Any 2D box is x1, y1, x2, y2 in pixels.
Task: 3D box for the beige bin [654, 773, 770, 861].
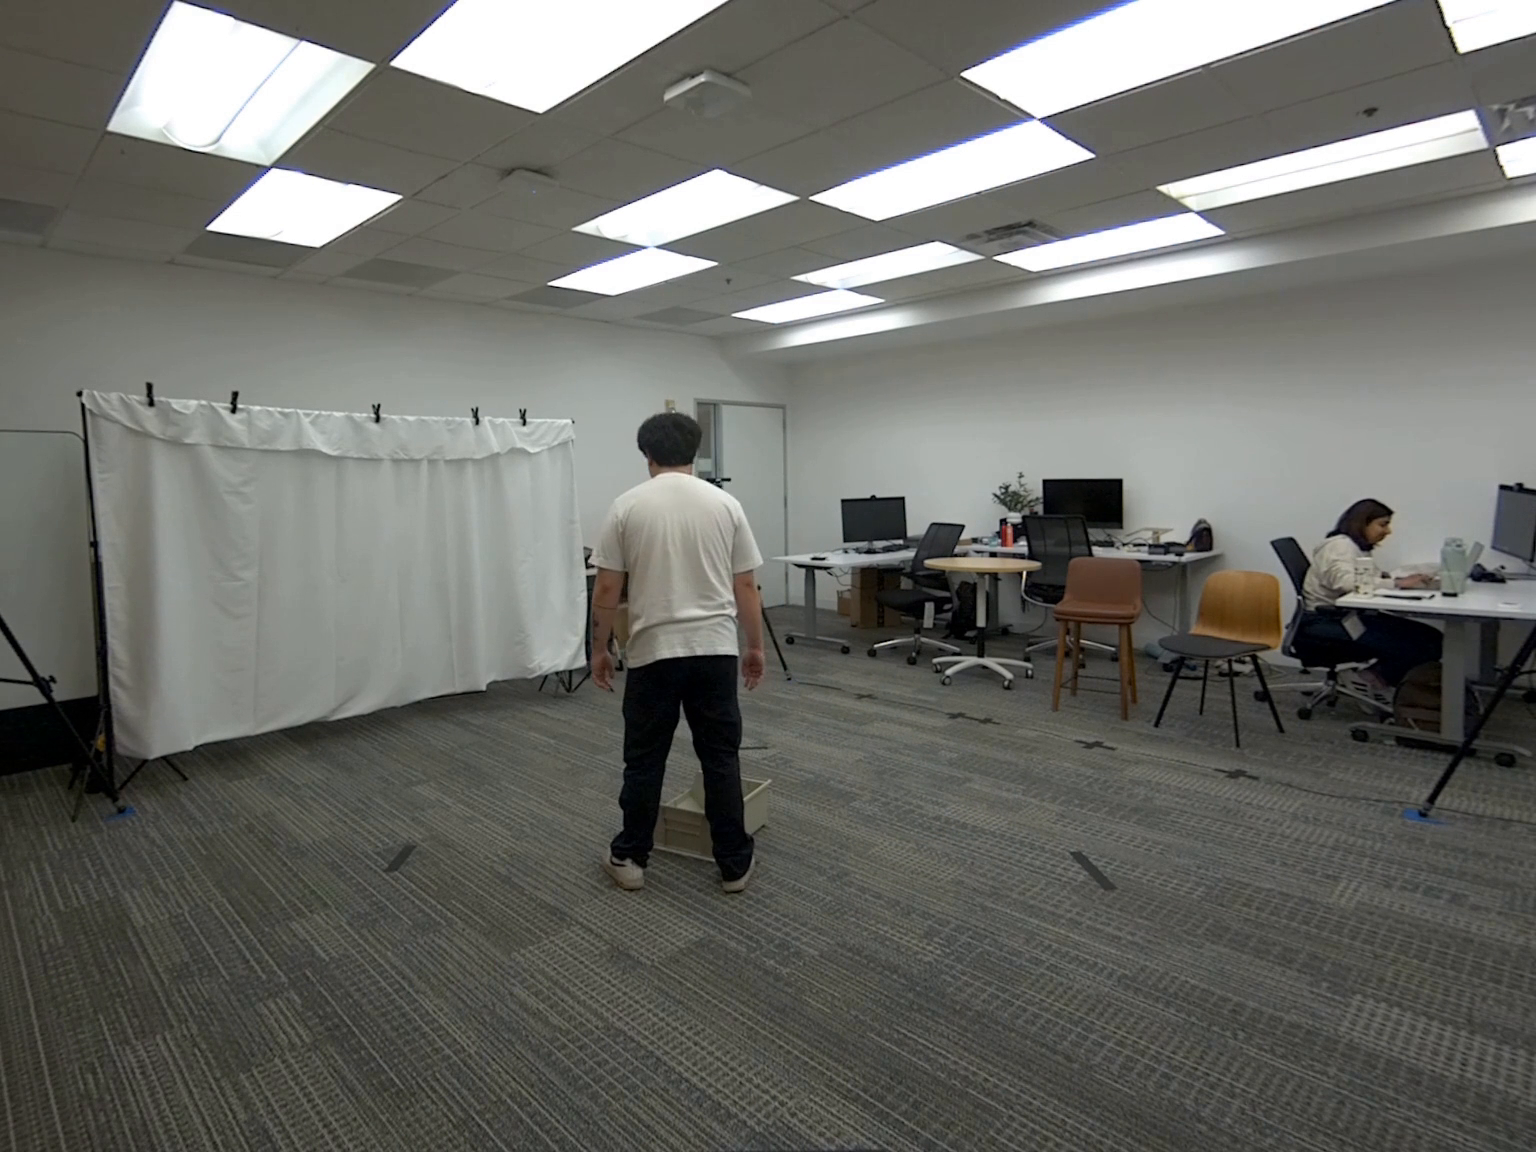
[{"bbox_3d":[-0.242,0.929,3.360,0.387,0.188,0.414,4,7,26],"label":"beige bin"}]
